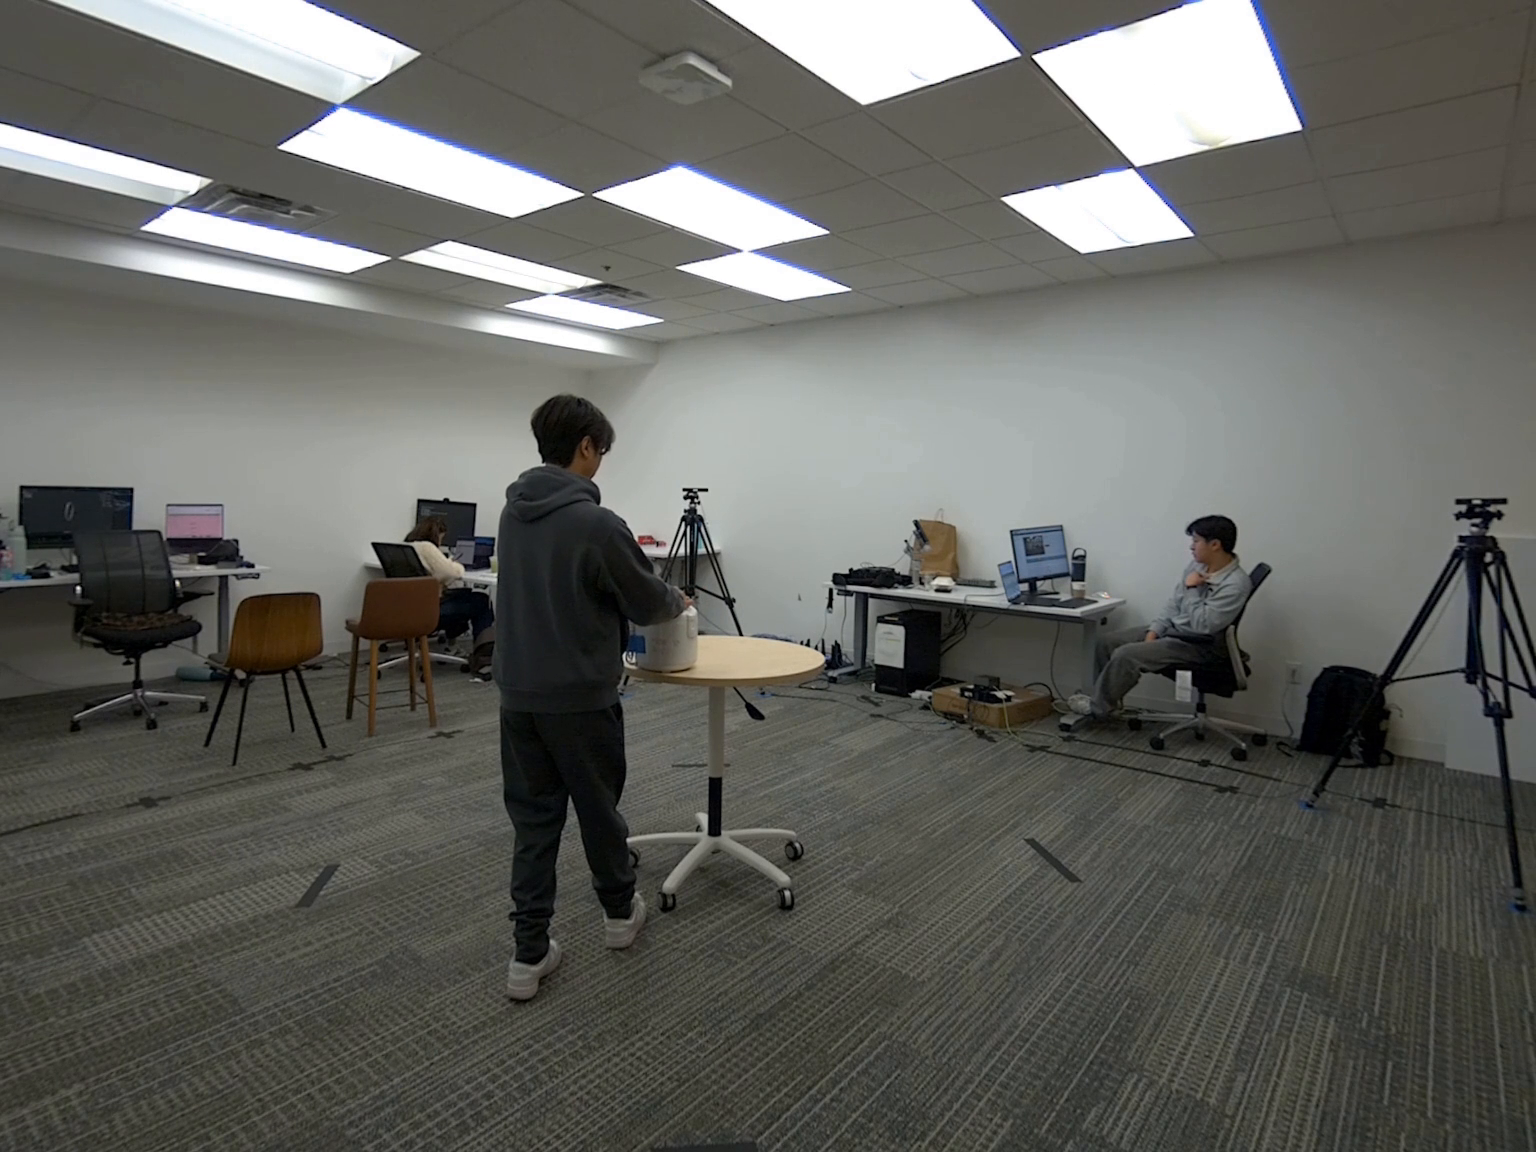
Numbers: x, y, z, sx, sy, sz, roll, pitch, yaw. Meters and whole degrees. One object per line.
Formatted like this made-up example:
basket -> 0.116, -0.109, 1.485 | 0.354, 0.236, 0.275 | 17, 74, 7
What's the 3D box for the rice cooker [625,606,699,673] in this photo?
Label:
rice cooker -> -0.346, 0.185, 2.819 | 0.227, 0.231, 0.212 | 4, 8, 33
